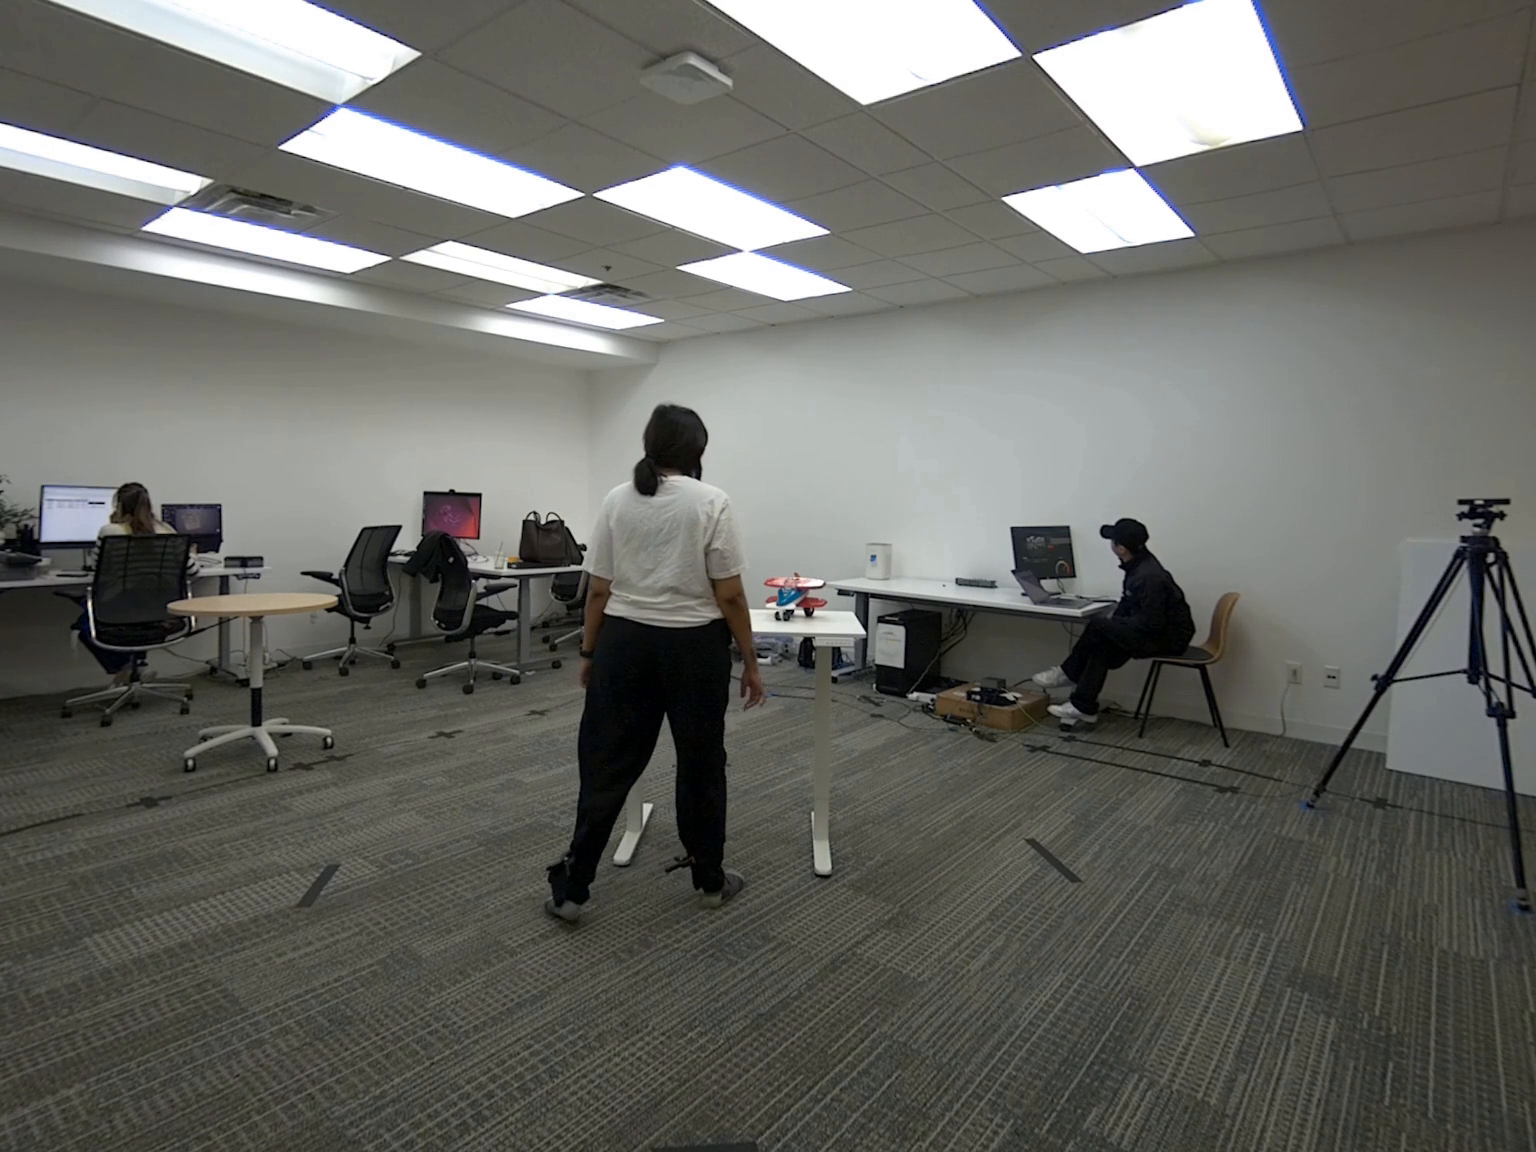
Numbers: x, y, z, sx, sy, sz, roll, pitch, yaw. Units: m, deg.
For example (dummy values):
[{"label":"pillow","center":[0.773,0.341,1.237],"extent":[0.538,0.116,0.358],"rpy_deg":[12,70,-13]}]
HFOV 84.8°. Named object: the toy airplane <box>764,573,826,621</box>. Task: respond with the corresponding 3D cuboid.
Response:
[{"label":"toy airplane","center":[0.113,0.086,3.395],"extent":[0.251,0.156,0.260],"rpy_deg":[0,2,-3]}]
